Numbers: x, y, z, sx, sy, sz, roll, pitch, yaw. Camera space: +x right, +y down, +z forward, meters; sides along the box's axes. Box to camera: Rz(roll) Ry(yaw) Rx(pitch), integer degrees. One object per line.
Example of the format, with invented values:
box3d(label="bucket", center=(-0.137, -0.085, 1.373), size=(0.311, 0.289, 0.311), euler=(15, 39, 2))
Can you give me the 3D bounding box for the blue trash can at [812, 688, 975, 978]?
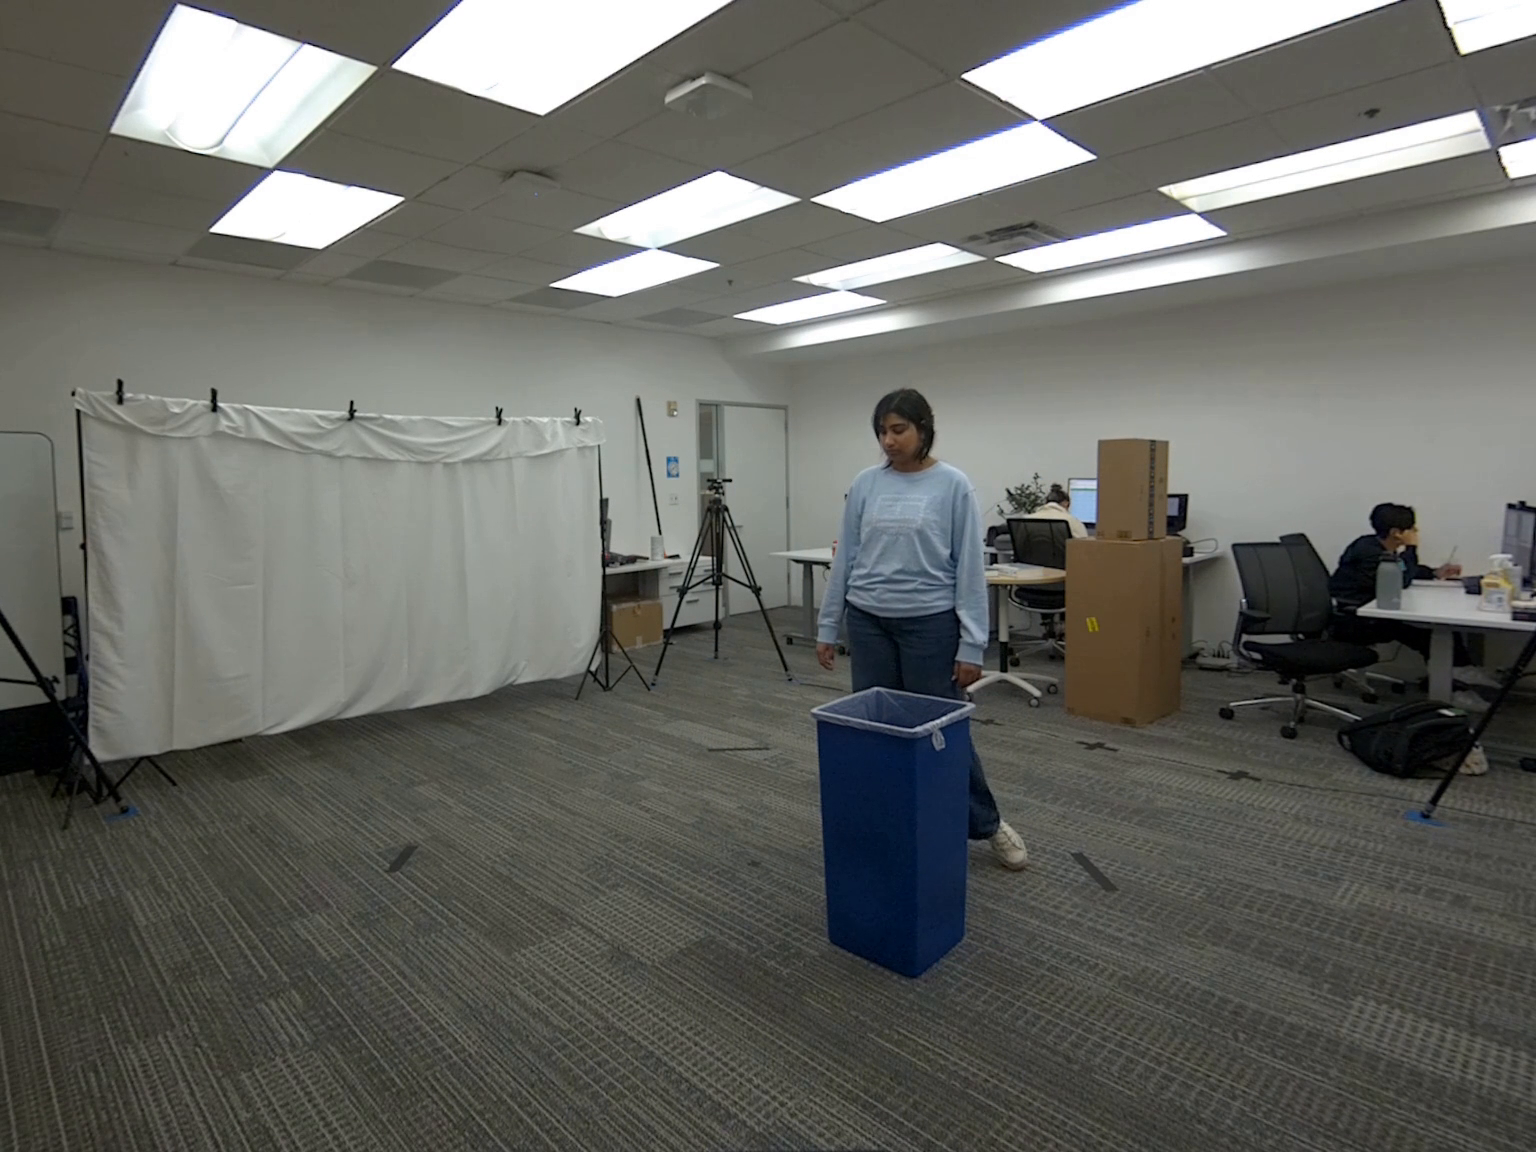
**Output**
box3d(label="blue trash can", center=(0.383, 0.744, 2.569), size=(0.389, 0.711, 0.364), euler=(1, 5, 41))
